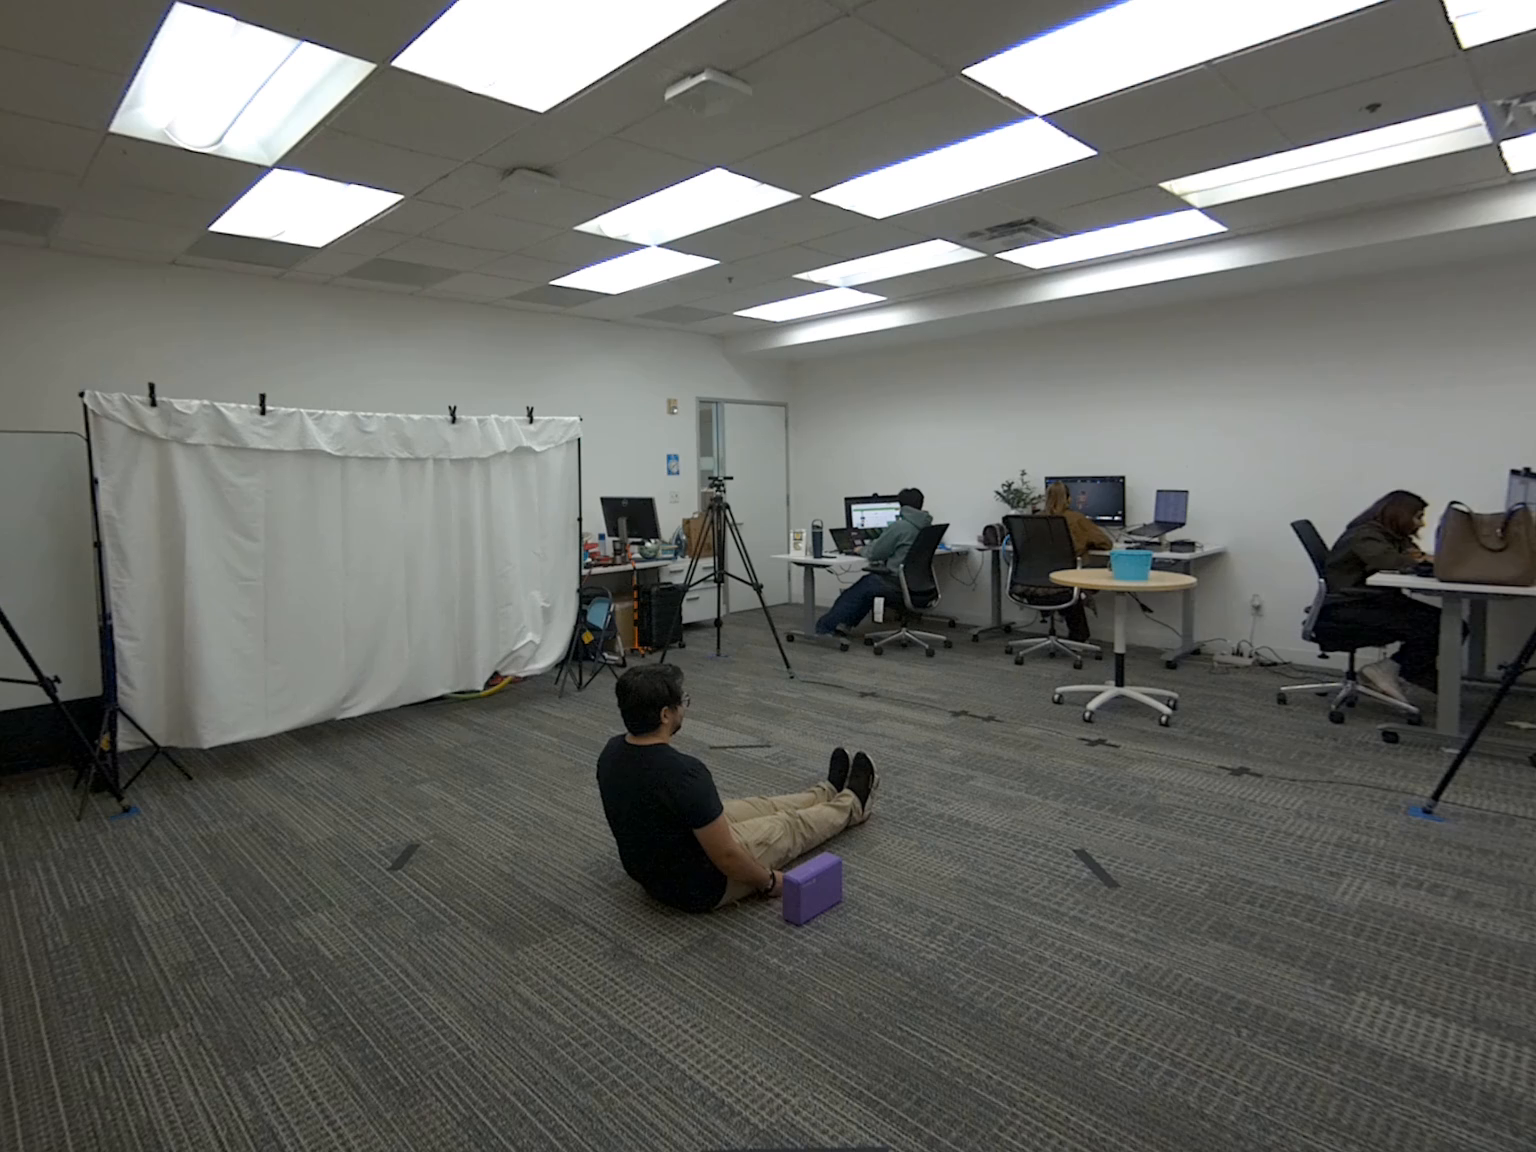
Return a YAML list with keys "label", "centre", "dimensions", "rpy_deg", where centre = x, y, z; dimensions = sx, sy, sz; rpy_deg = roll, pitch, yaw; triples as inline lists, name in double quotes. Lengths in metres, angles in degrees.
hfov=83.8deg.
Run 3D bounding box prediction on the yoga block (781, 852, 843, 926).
- label: "yoga block"
  centre: [0.145, 0.995, 2.736]
  dimensions: [0.079, 0.148, 0.223]
  rpy_deg: [2, 6, 42]
